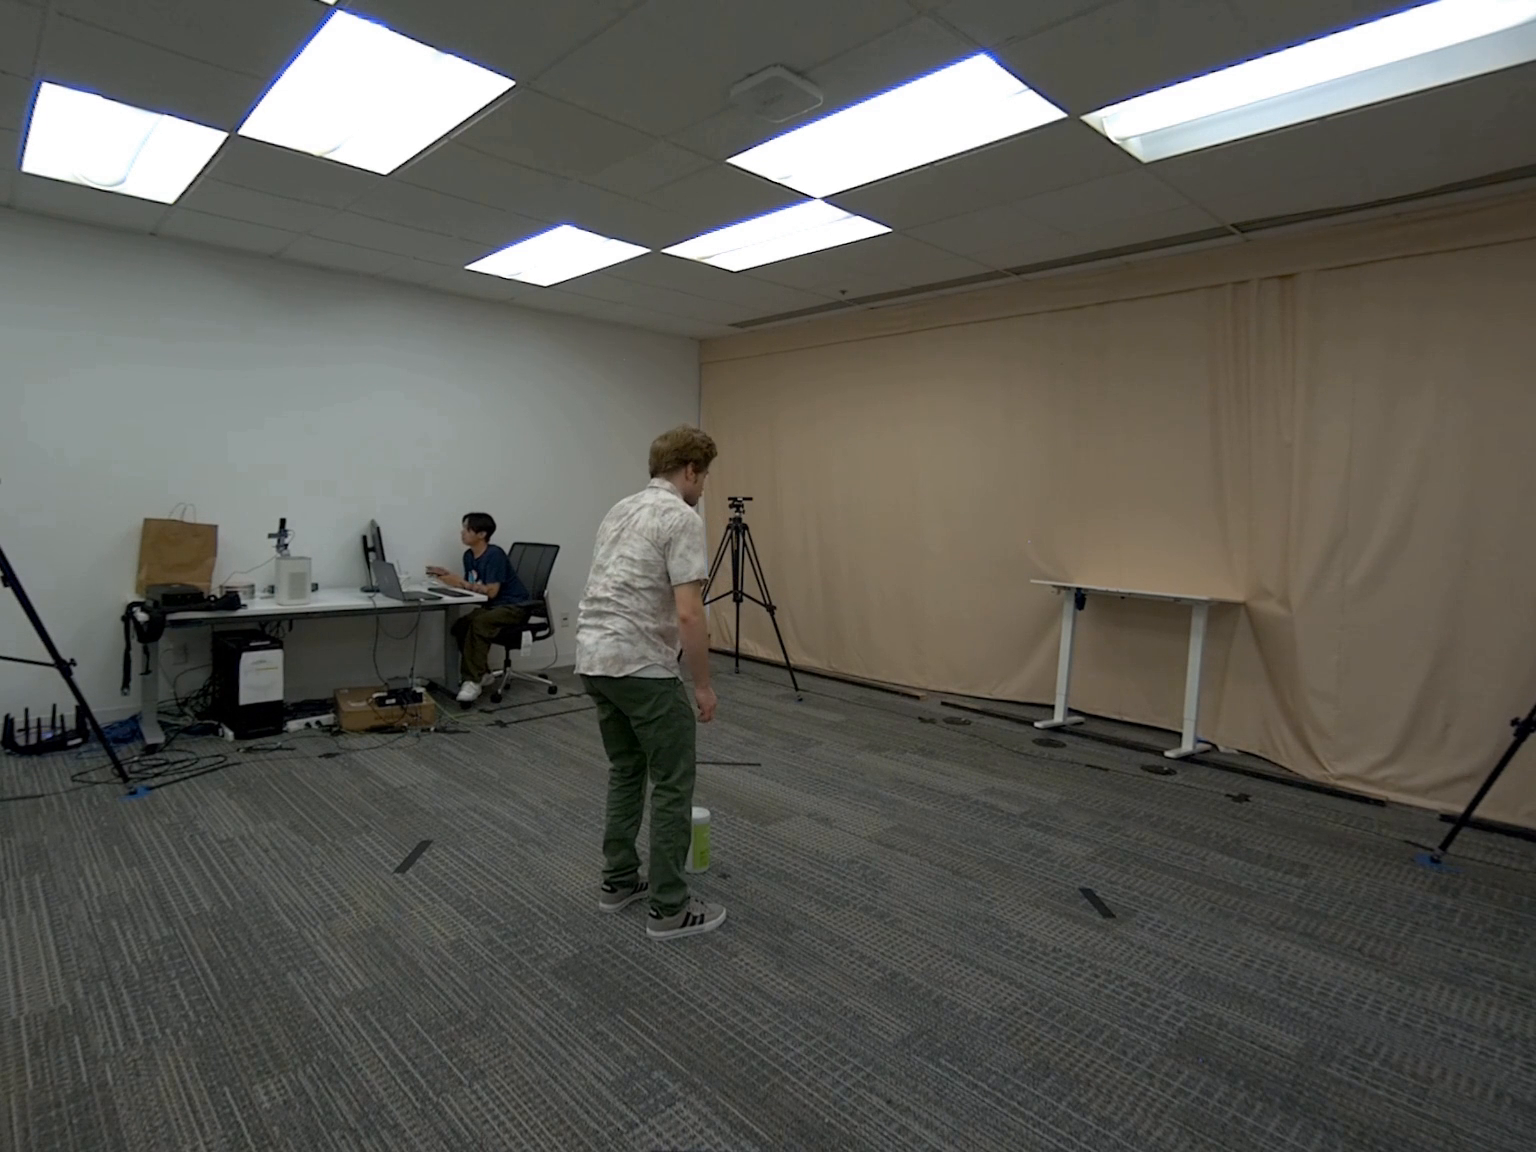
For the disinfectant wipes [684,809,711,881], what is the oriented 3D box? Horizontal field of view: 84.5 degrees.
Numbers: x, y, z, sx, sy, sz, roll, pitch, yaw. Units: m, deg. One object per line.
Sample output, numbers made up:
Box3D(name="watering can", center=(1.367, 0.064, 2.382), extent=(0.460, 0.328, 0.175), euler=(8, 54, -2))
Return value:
Box3D(name="disinfectant wipes", center=(-0.279, 0.998, 3.154), extent=(0.118, 0.217, 0.118), euler=(2, 1, -1))
